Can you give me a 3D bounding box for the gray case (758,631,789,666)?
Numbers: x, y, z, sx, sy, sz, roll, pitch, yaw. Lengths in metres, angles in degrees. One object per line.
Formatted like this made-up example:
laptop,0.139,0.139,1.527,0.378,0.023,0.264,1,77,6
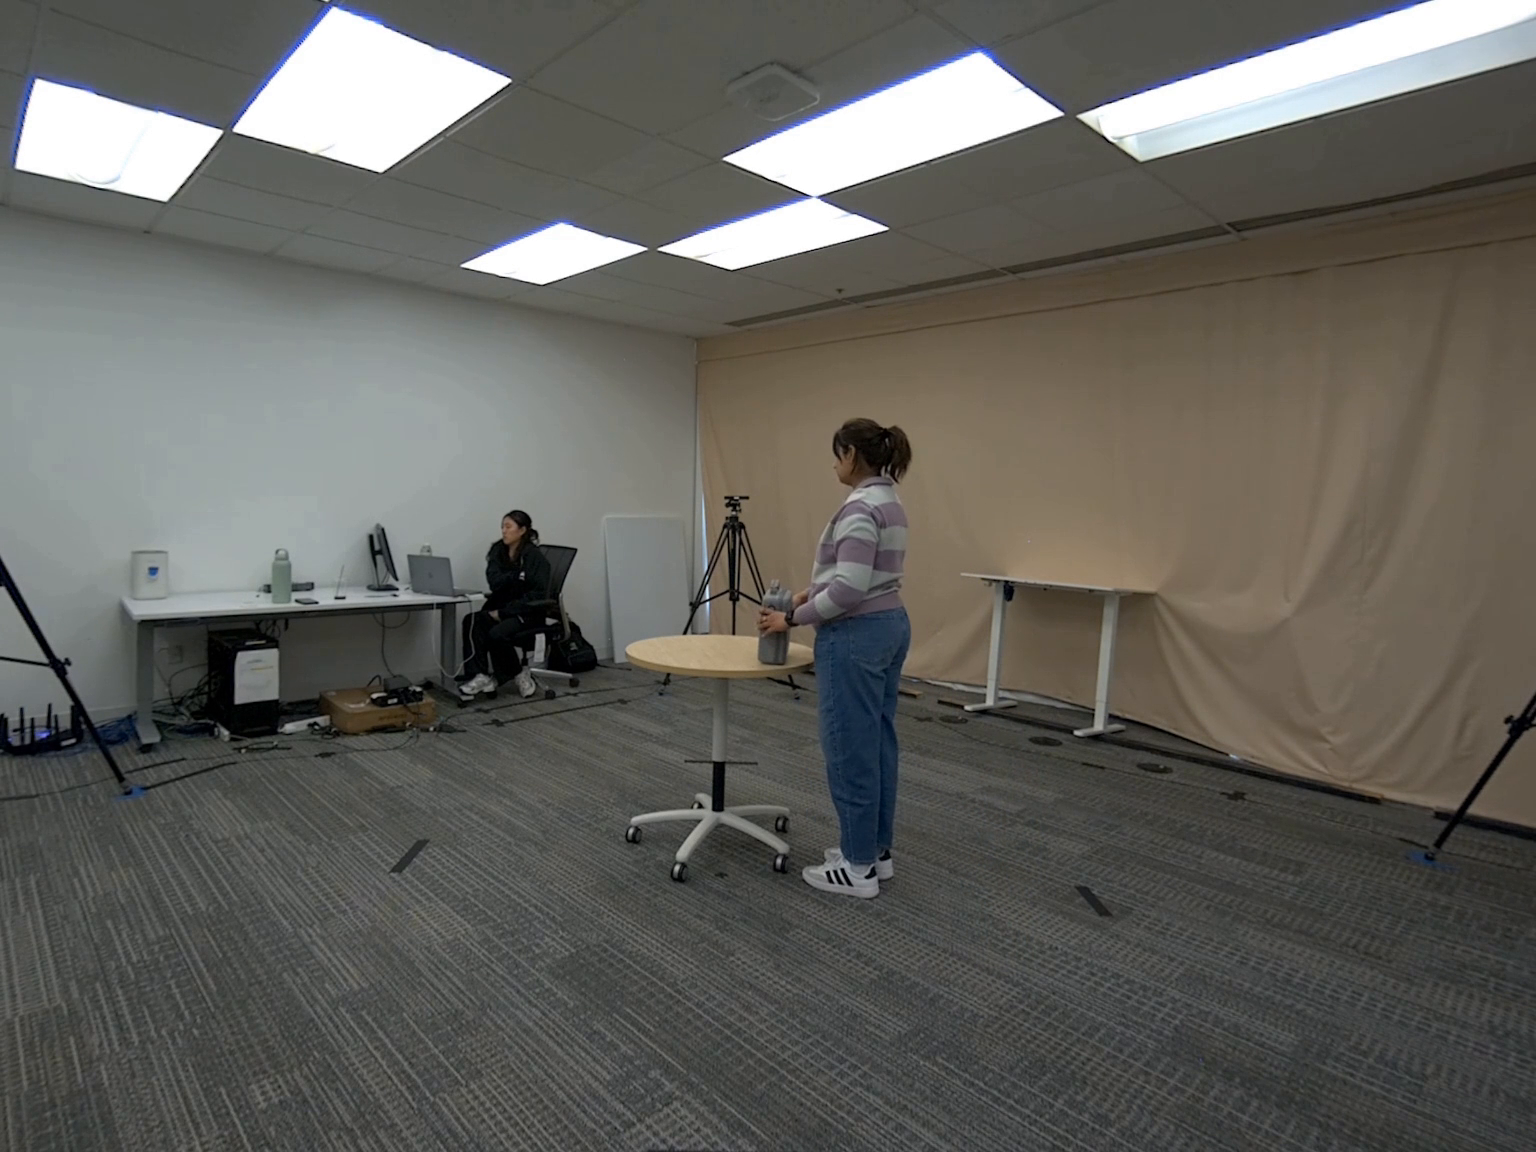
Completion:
gray case,0.023,0.183,3.180,0.105,0.259,0.257,2,8,5
